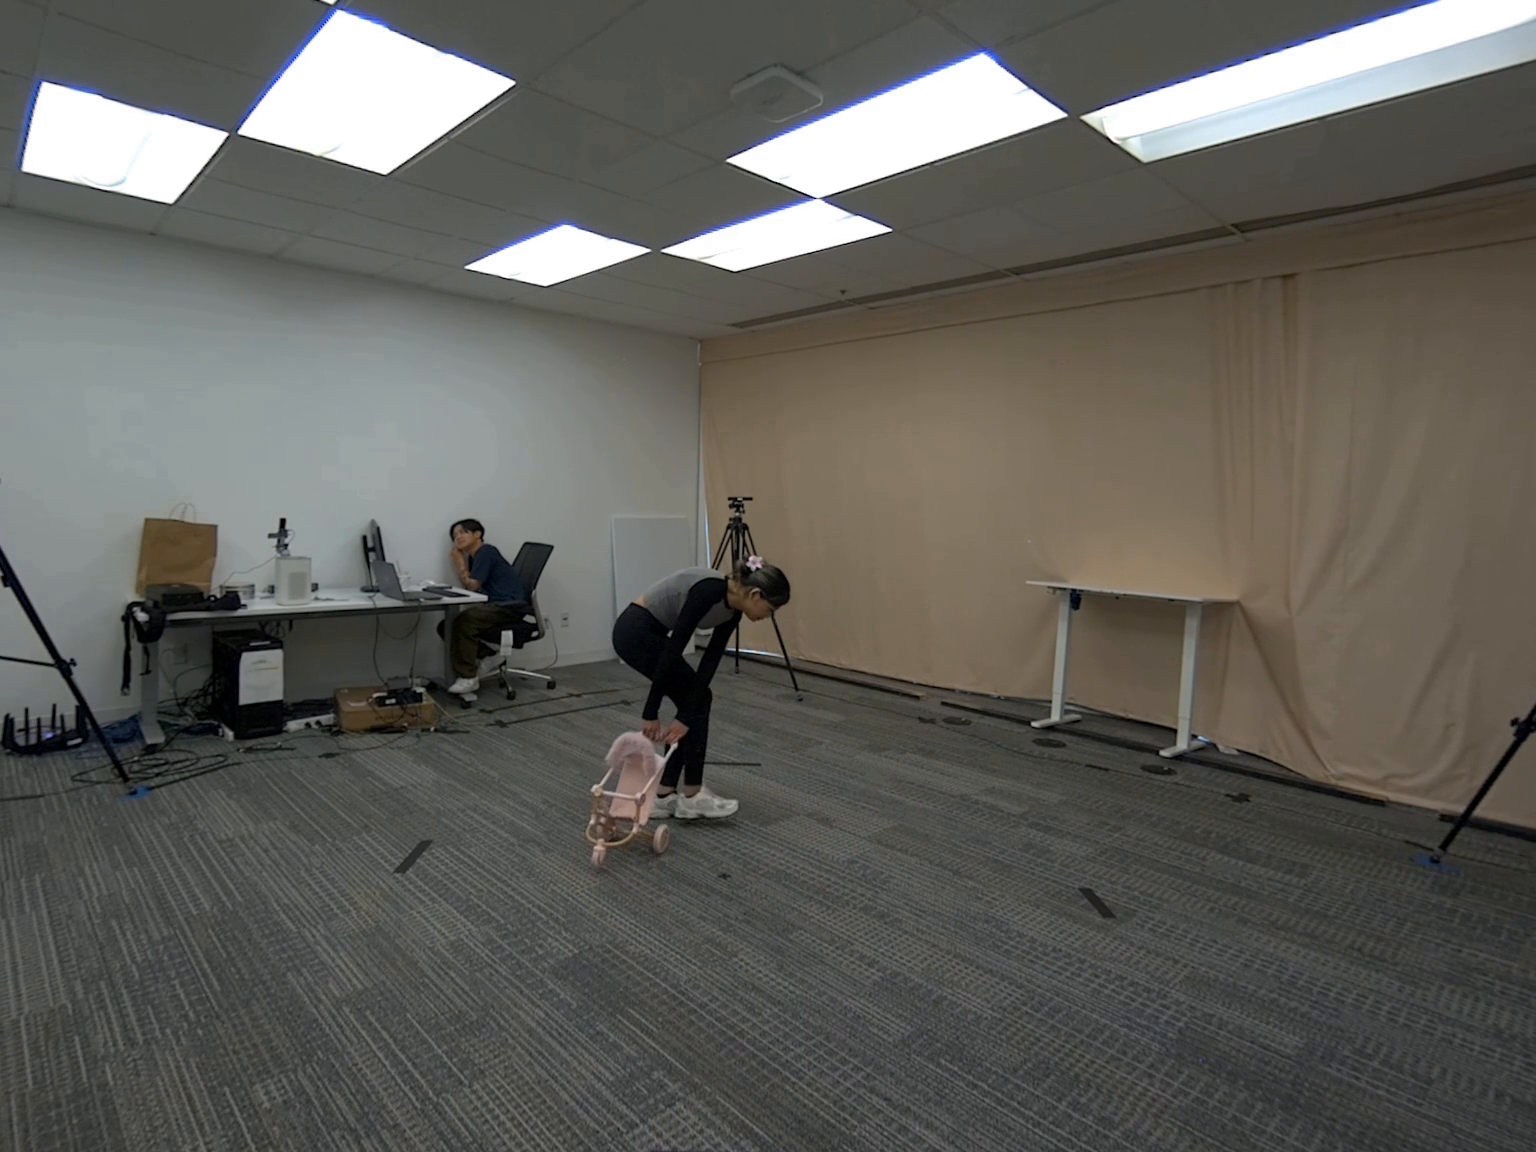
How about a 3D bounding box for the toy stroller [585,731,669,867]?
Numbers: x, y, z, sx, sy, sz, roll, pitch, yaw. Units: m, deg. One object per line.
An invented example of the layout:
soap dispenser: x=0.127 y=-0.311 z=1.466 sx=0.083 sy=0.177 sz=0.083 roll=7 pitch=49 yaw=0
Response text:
toy stroller: x=-0.554 y=0.856 z=3.286 sx=0.287 sy=0.539 sz=0.332 roll=3 pitch=-16 yaw=25
